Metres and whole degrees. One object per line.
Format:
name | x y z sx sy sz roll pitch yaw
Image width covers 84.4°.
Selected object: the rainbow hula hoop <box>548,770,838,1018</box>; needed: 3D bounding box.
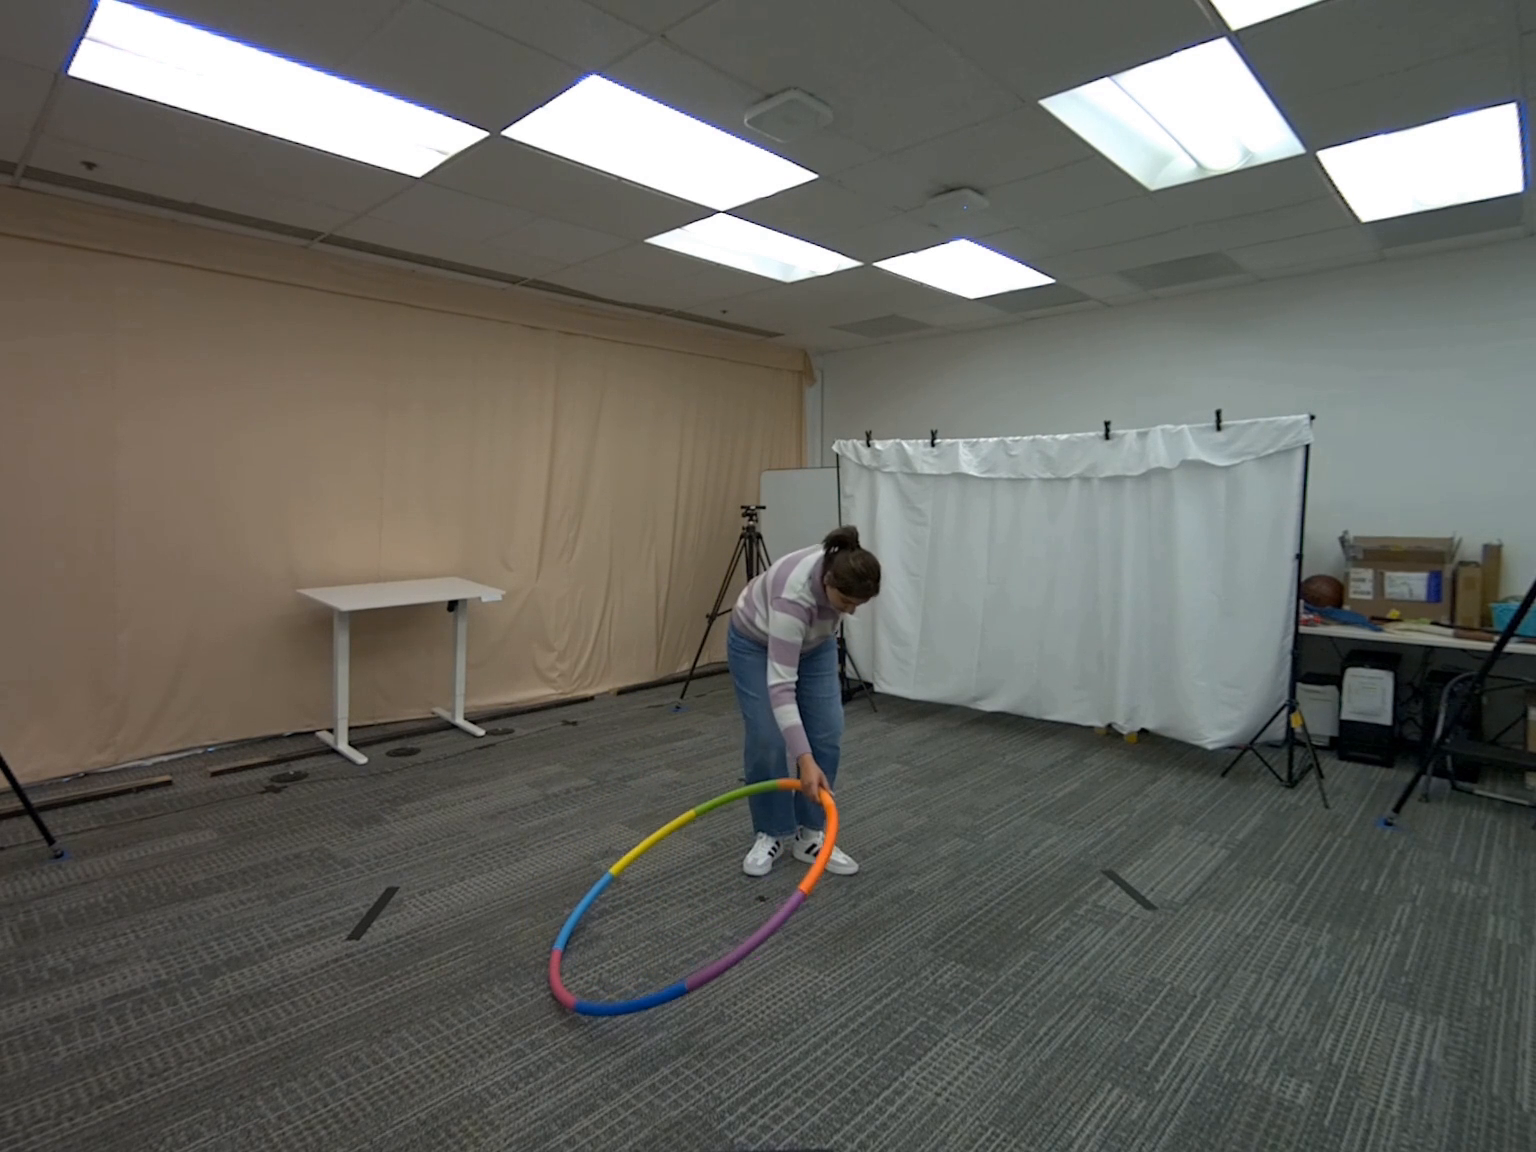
rainbow hula hoop | -0.234 0.932 2.562 0.981 0.035 0.986 -29 11 3
